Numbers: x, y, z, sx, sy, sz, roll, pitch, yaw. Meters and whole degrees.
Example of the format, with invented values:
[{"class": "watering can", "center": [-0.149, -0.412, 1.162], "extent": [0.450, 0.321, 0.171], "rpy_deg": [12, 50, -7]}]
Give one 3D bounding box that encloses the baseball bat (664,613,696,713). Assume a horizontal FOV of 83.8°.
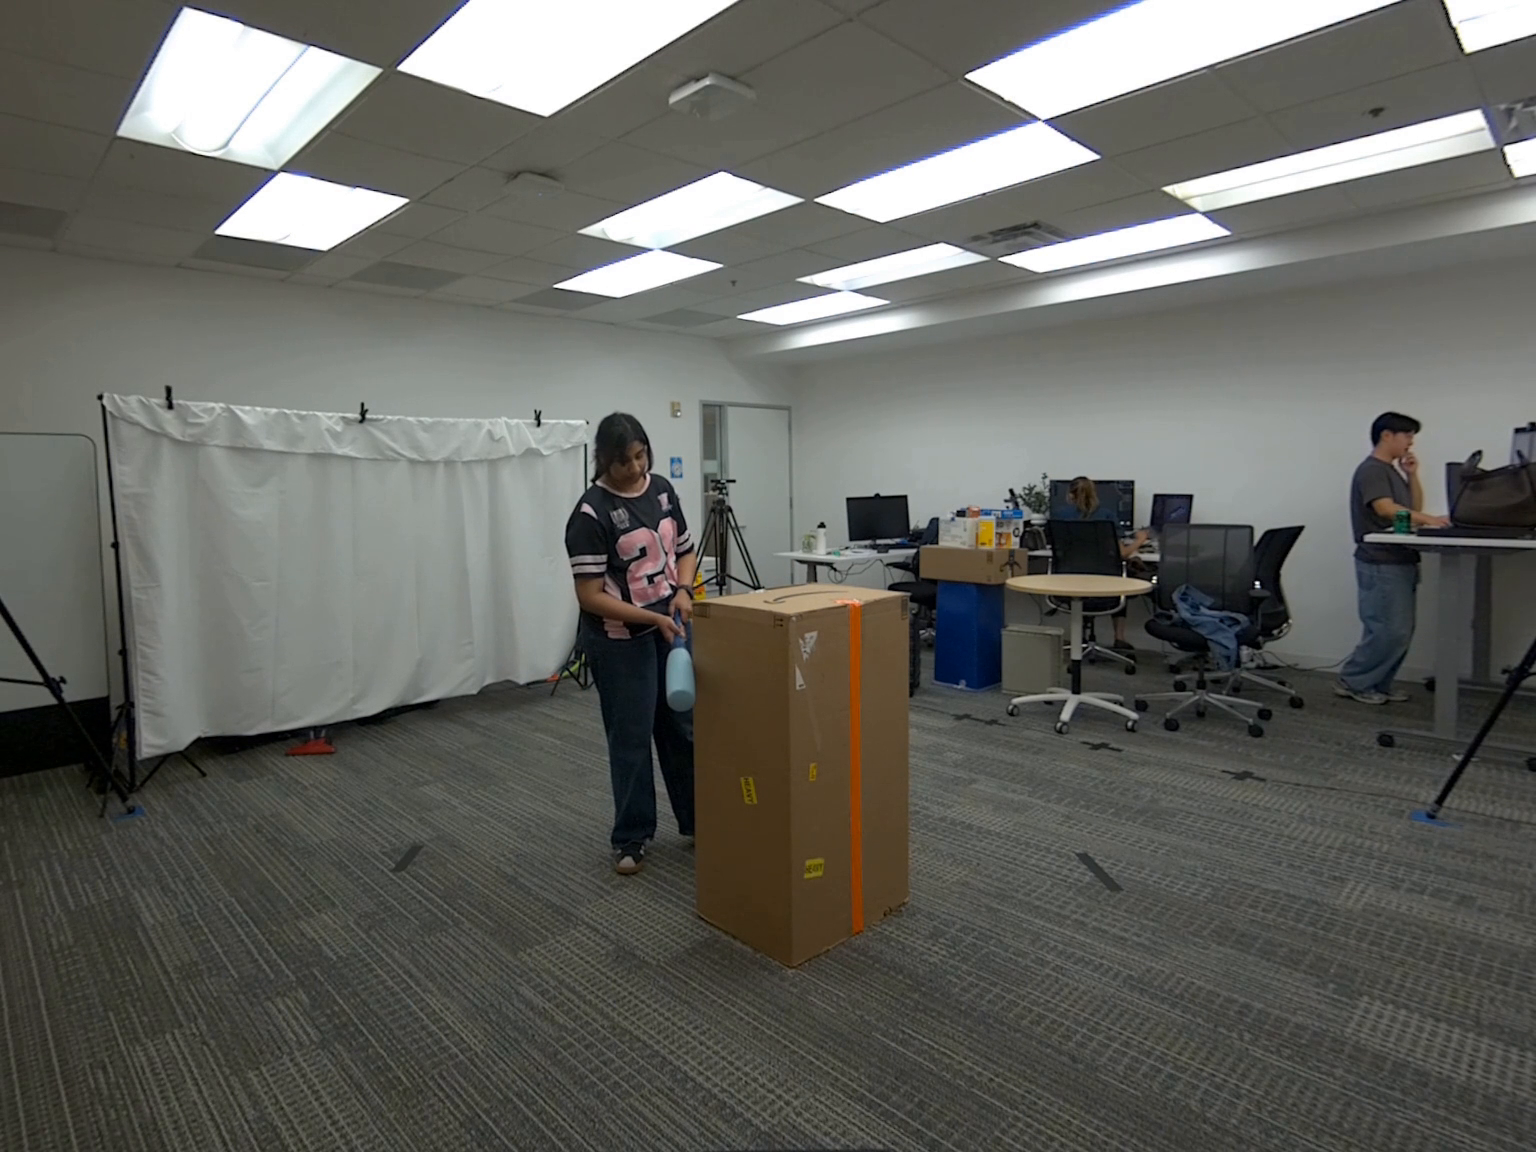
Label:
[{"class": "baseball bat", "center": [-0.288, 0.255, 2.769], "extent": [0.088, 0.087, 0.557], "rpy_deg": [-2, 26, -6]}]
